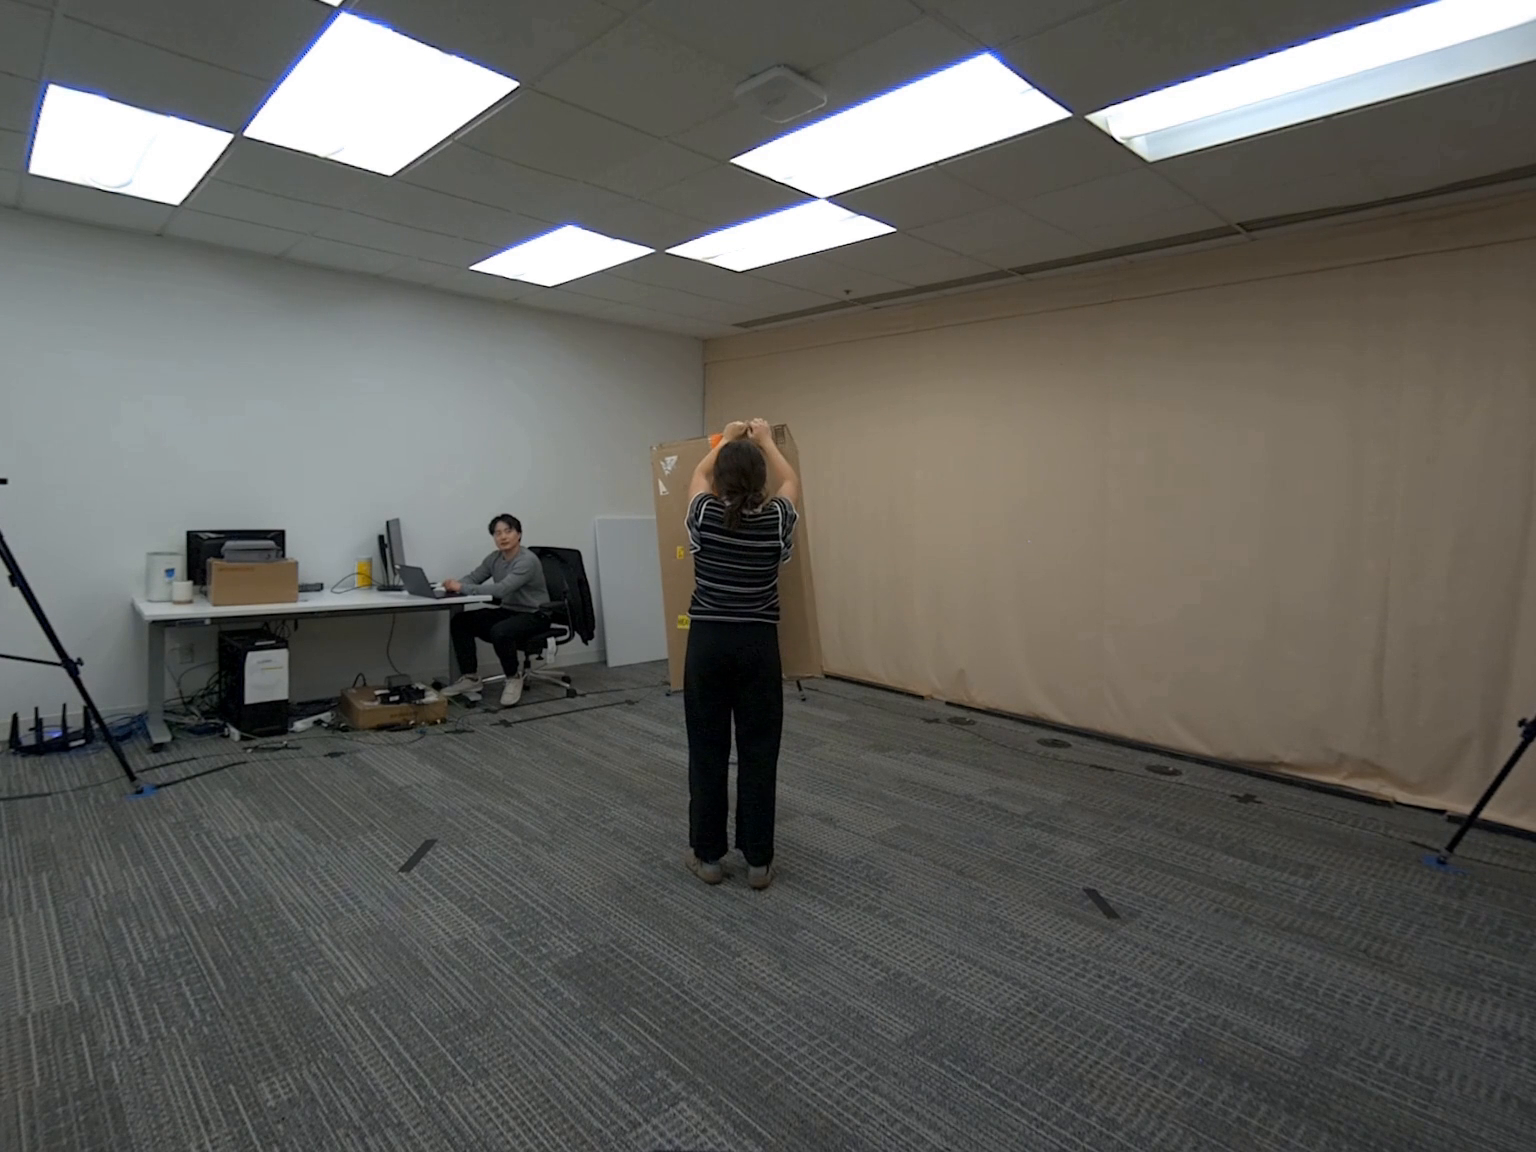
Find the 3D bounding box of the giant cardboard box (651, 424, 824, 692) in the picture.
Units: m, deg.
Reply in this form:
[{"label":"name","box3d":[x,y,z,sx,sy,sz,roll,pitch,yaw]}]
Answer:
[{"label":"giant cardboard box","box3d":[-0.136,-0.054,3.562,0.582,1.035,0.419,-8,-11,10]}]
